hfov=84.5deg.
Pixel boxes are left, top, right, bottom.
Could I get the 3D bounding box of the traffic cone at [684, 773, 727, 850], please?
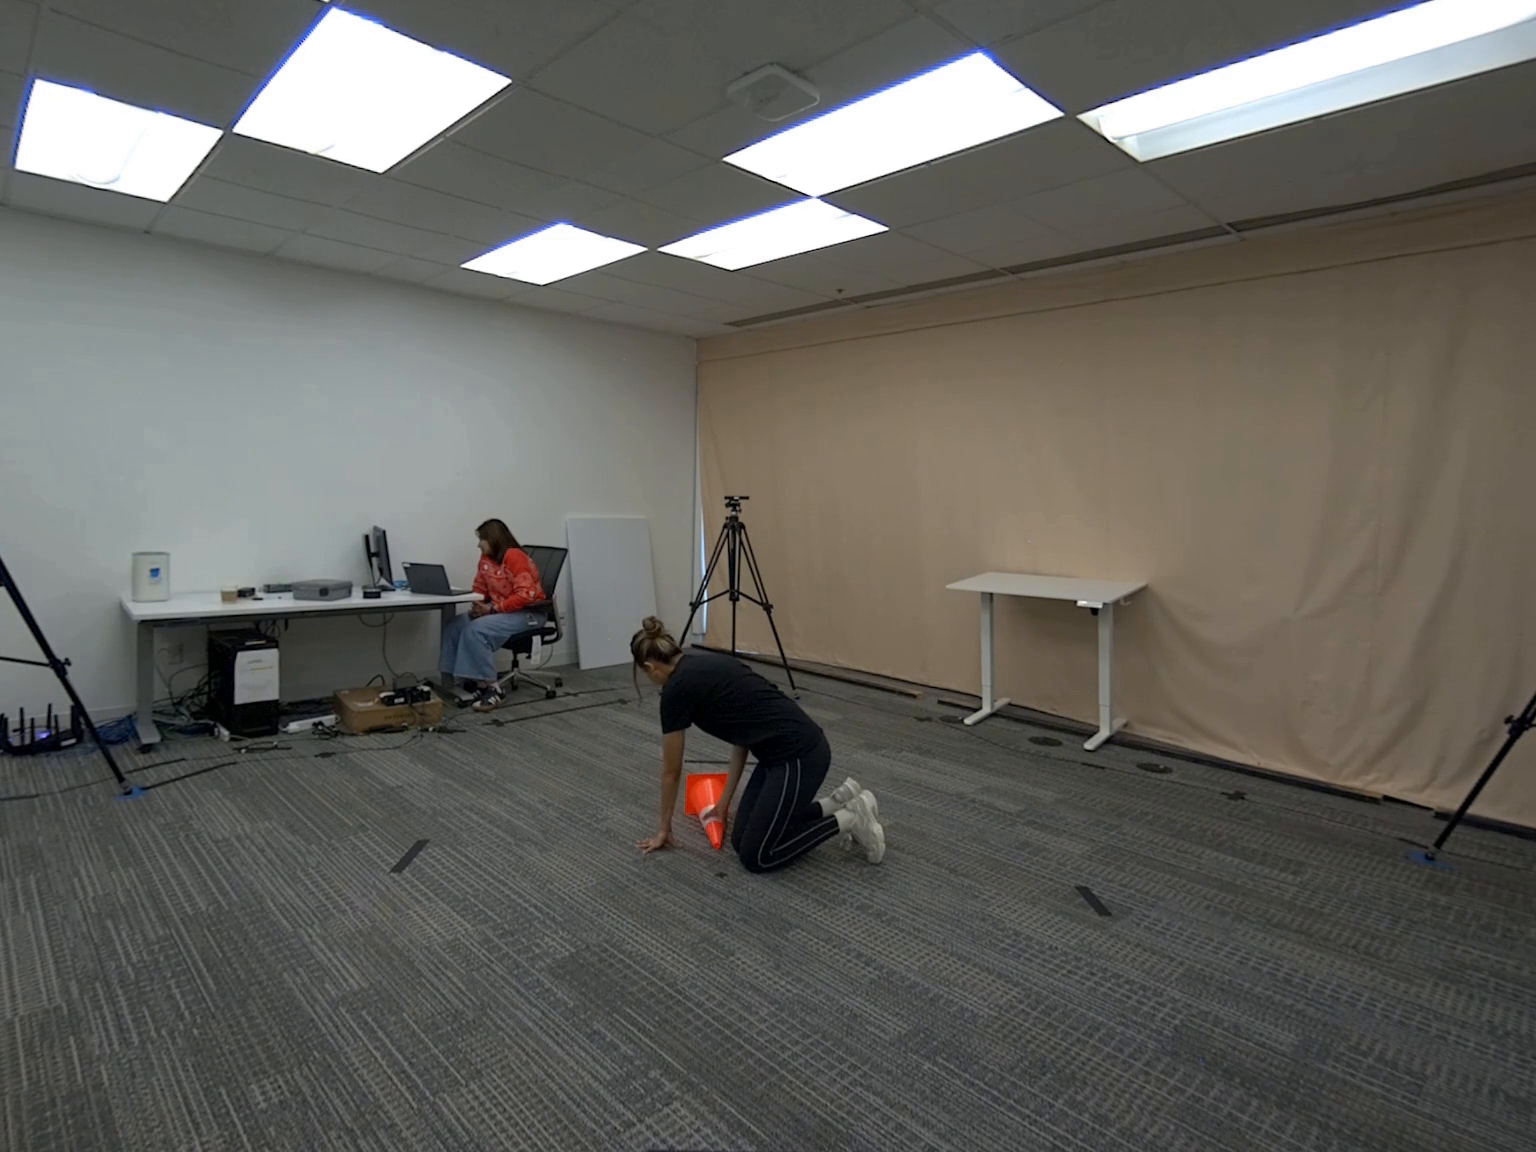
[{"bbox_3d":[-0.232,1.018,3.515,0.203,0.201,0.391,0,18,-11],"label":"traffic cone"}]
